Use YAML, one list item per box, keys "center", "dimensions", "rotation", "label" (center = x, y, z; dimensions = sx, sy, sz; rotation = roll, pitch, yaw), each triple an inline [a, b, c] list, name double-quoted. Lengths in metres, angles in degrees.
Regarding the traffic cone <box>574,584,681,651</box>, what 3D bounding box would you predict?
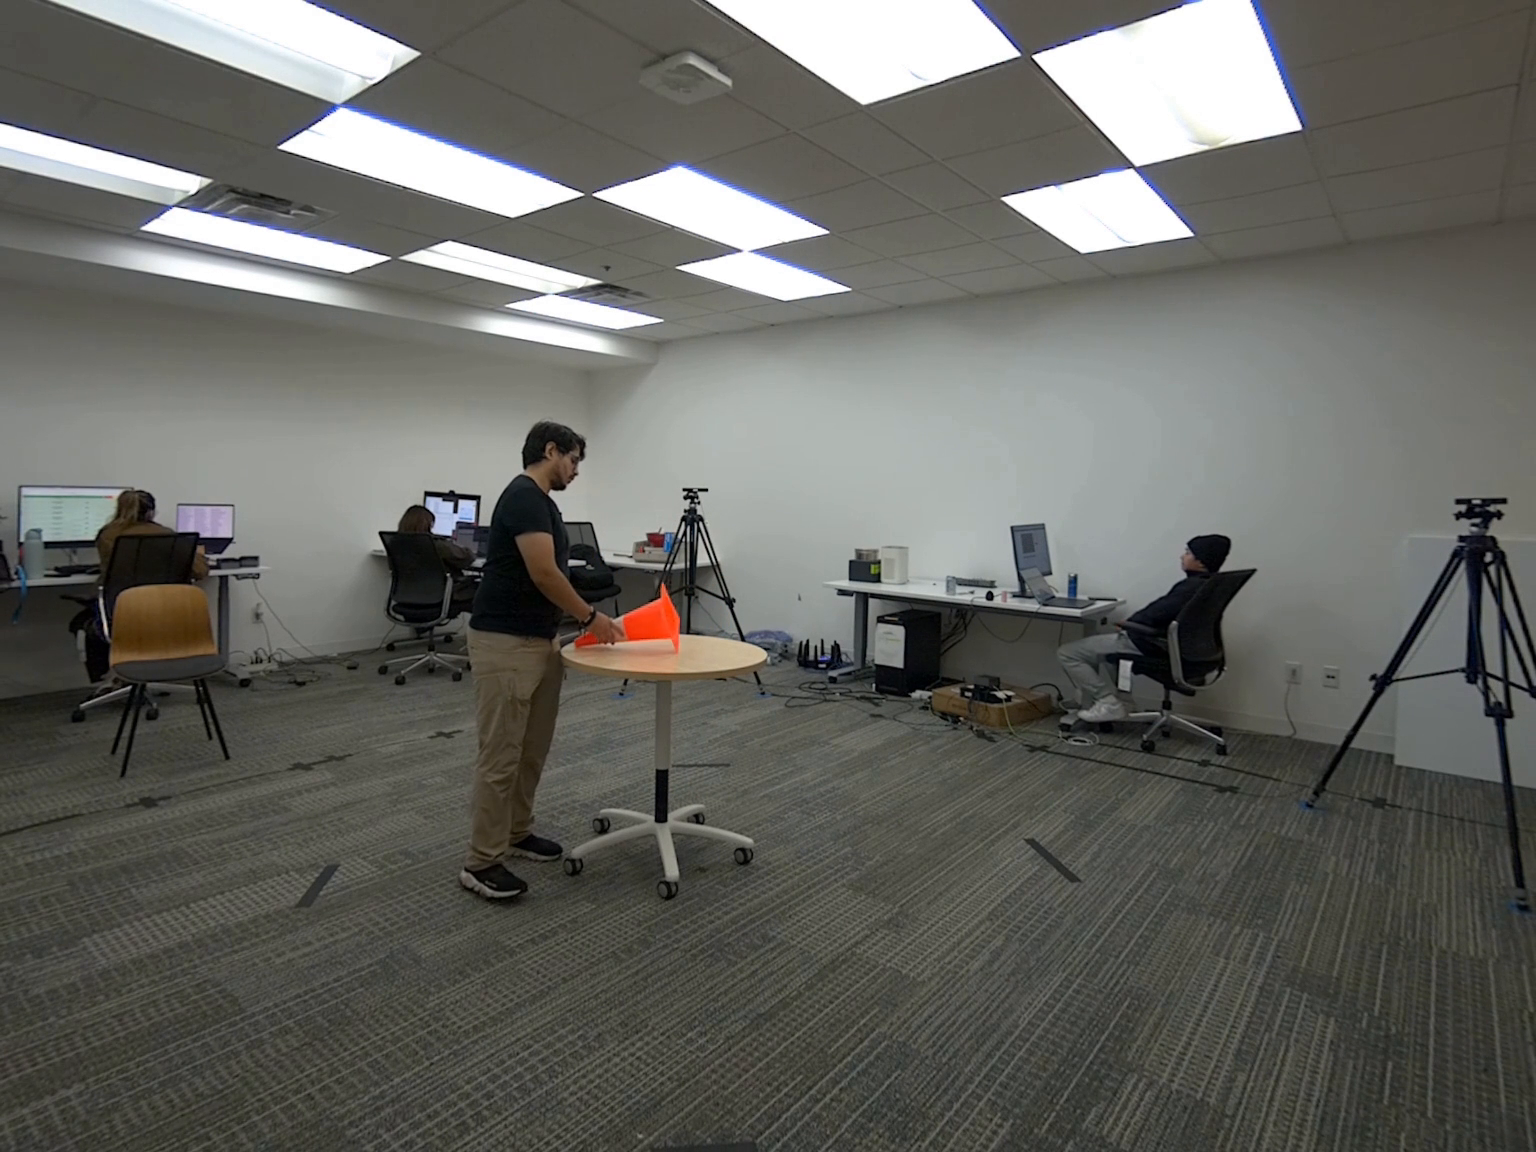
- center: [-0.561, 0.204, 3.178]
  dimensions: [0.386, 0.199, 0.208]
  rotation: [-14, 29, 7]
  label: "traffic cone"
